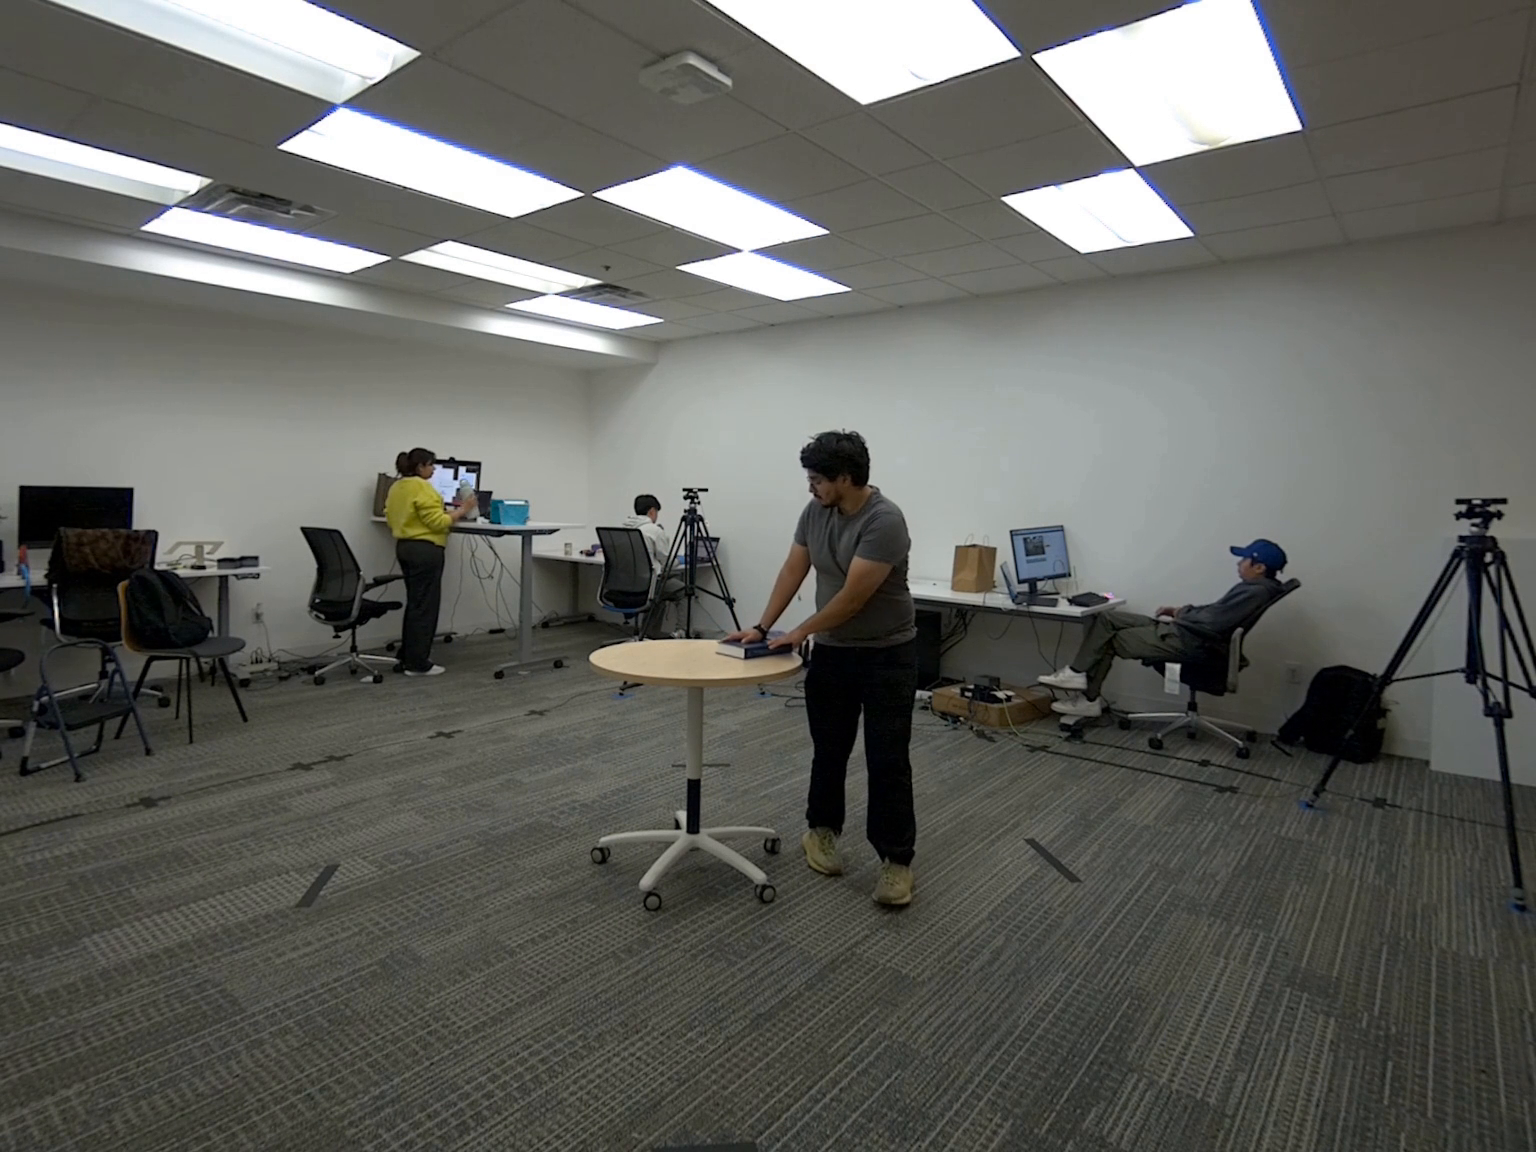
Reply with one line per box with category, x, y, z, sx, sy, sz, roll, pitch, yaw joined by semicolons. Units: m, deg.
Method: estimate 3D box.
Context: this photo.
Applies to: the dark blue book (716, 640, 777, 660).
dark blue book;-0.063;0.264;3.173;0.237;0.045;0.169;-3;5;-41
